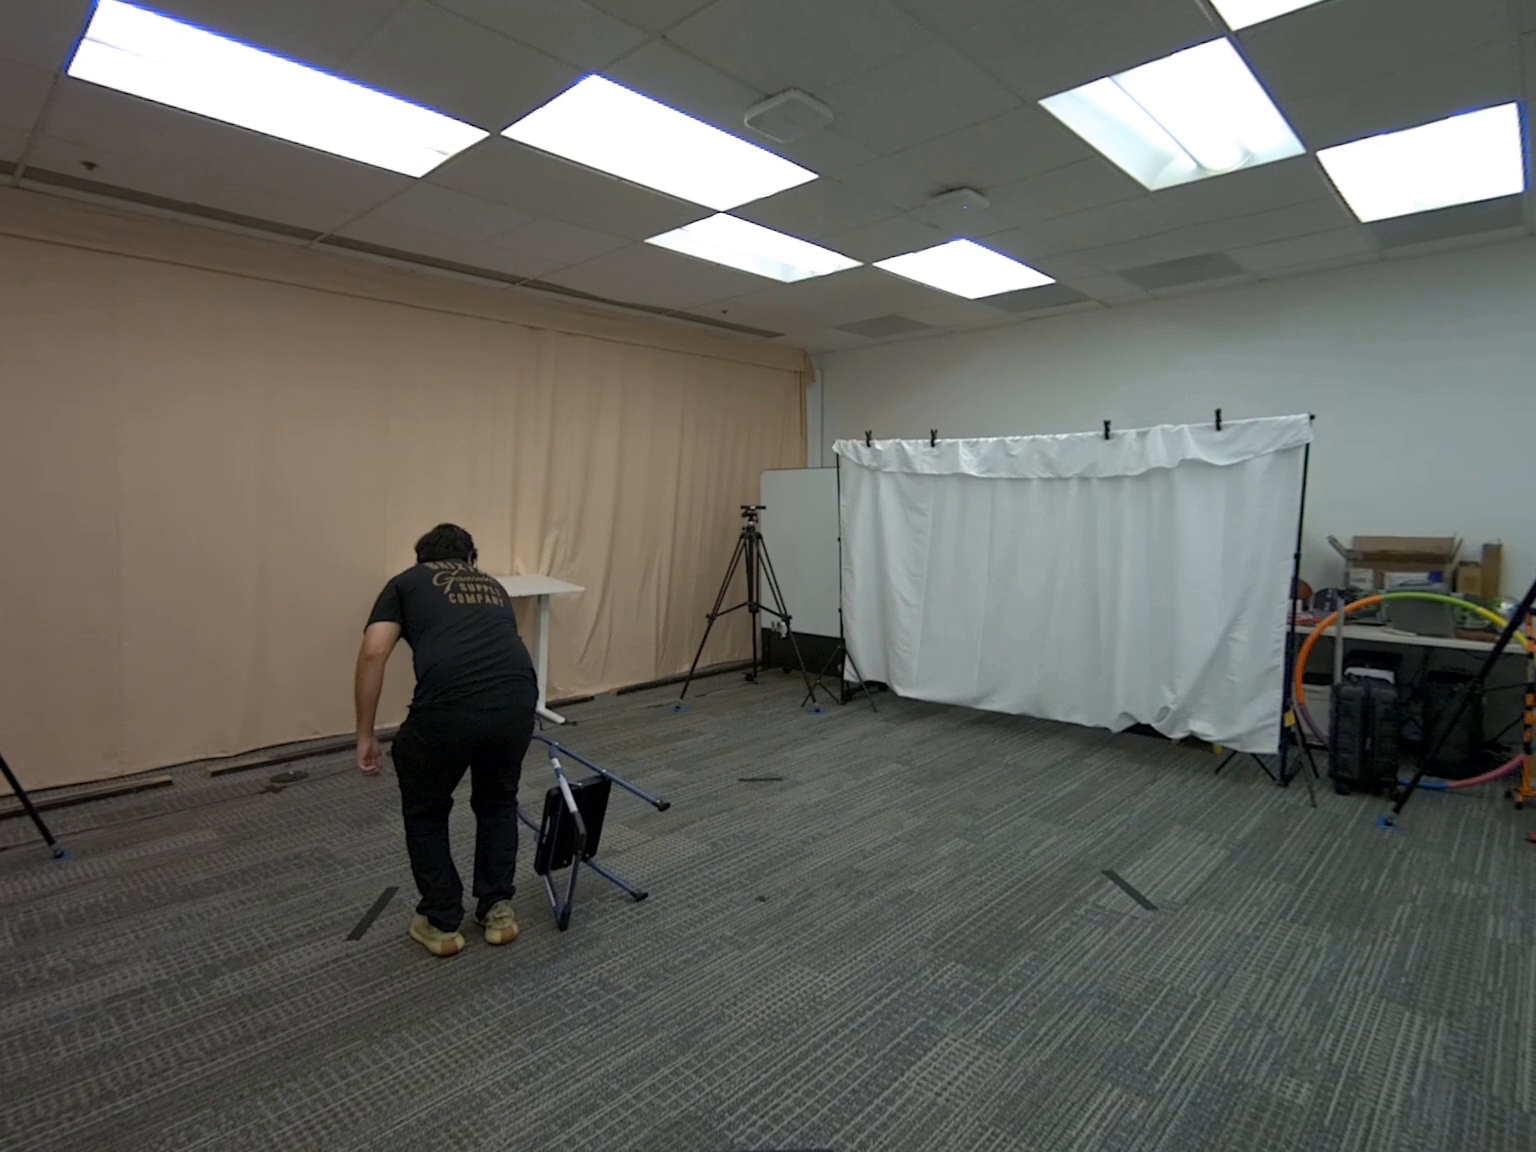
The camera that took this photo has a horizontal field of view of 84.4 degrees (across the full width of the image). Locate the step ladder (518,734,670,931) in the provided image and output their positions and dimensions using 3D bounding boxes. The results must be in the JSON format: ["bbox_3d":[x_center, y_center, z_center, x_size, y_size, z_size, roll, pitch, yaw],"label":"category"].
[{"bbox_3d":[-0.700,0.843,2.995,0.339,0.428,0.629,-4,27,-43],"label":"step ladder"}]
